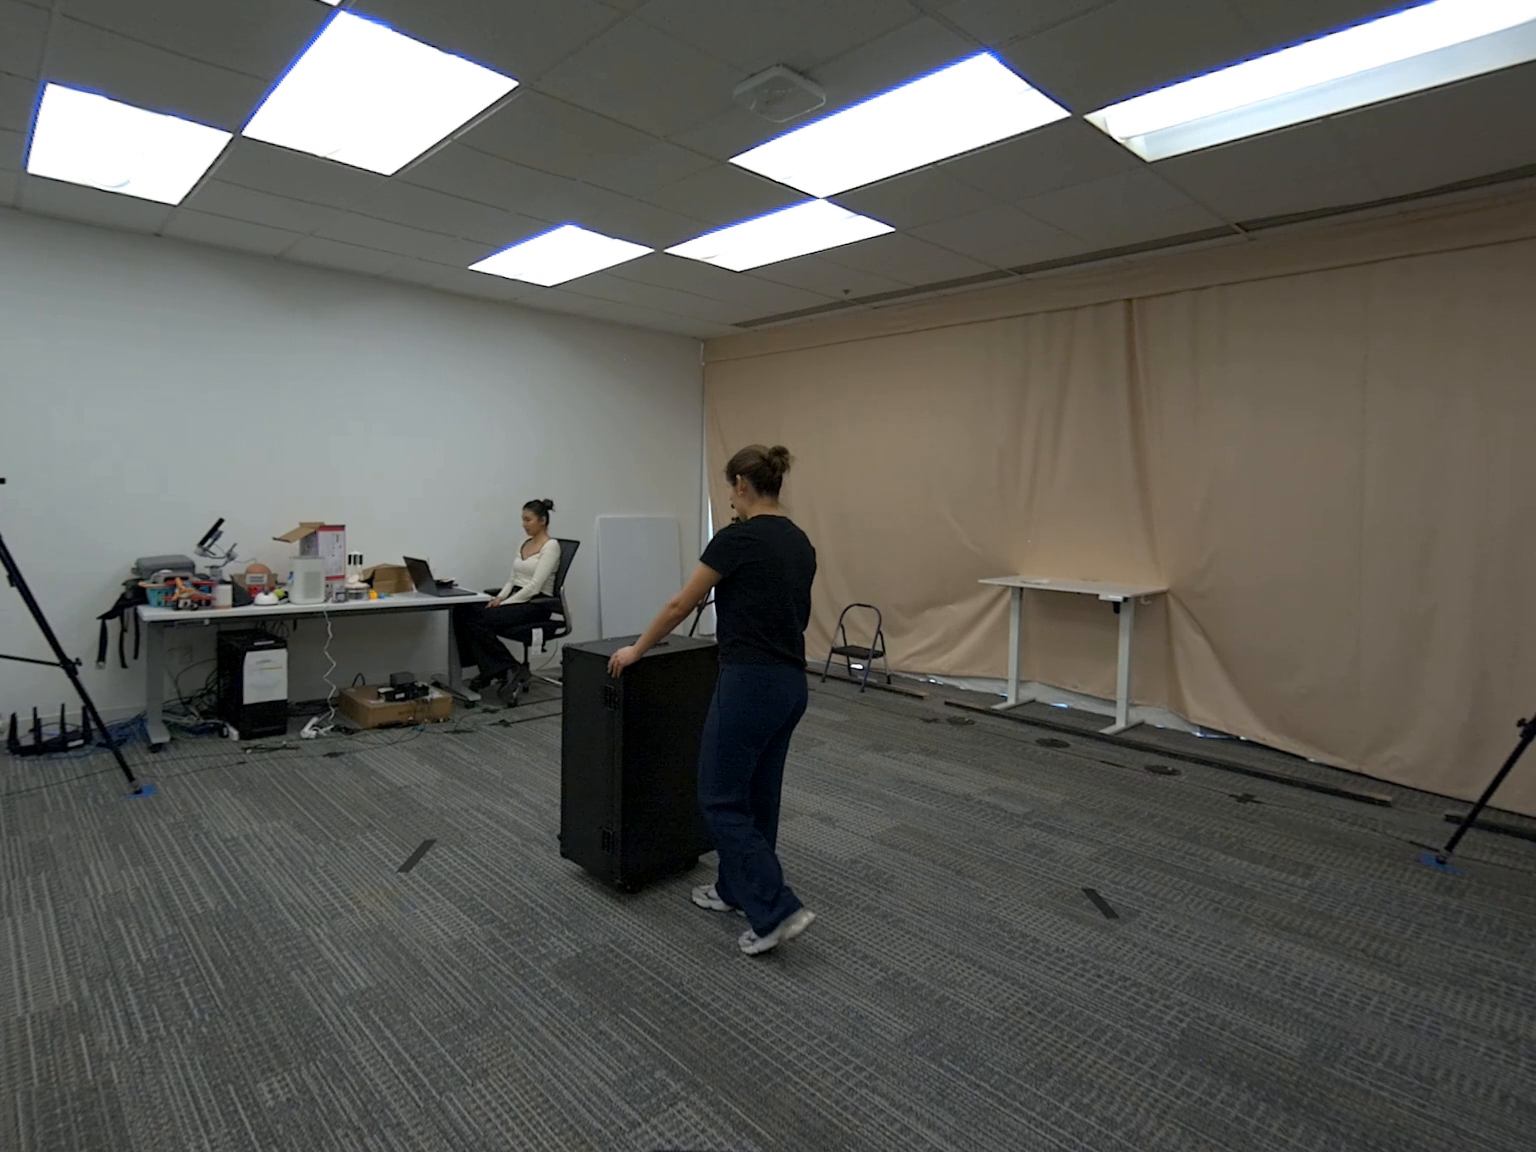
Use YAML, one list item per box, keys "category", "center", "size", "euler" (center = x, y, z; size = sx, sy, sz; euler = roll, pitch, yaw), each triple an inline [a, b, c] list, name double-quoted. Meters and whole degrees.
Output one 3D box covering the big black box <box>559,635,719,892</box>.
- category: "big black box"
  center: [-0.480, 0.674, 3.101]
  size: [0.406, 0.859, 0.509]
  euler: [4, 4, 43]
